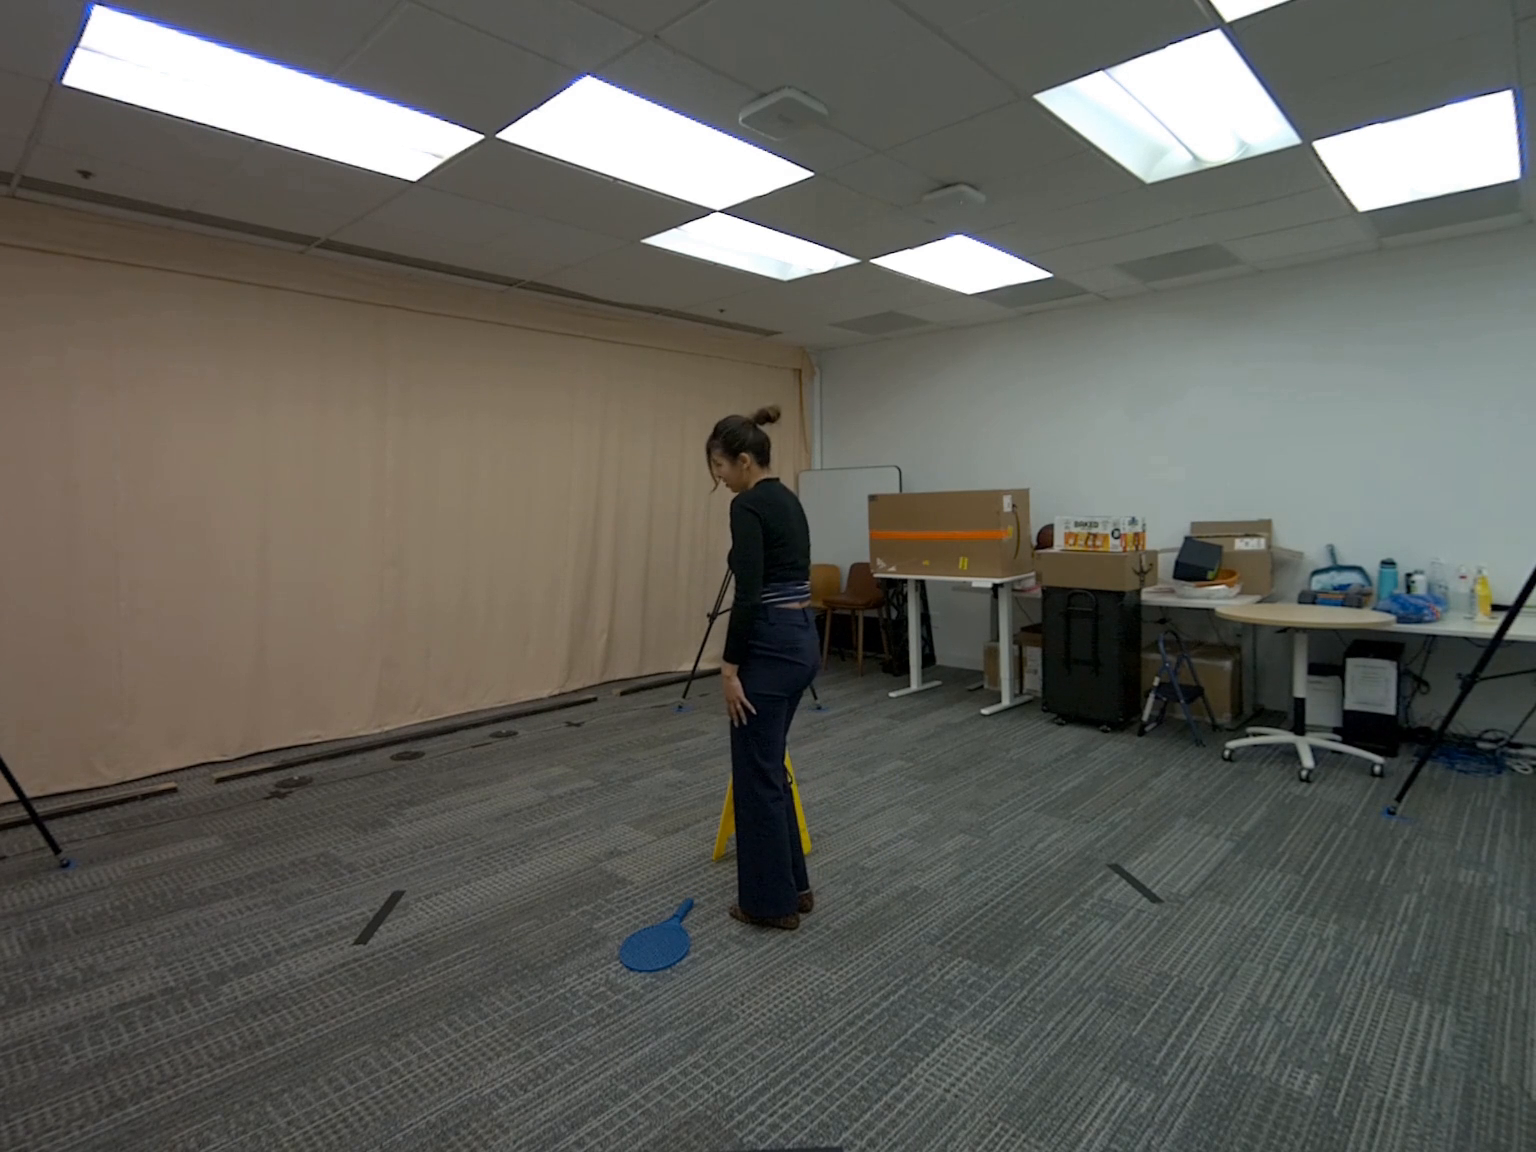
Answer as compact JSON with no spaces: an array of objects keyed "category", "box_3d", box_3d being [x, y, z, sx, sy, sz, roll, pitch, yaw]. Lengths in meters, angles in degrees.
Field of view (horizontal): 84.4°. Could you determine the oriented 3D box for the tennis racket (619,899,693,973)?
[{"category":"tennis racket","box_3d":[-0.323,1.153,2.724,0.218,0.031,0.426,1,7,18]}]
